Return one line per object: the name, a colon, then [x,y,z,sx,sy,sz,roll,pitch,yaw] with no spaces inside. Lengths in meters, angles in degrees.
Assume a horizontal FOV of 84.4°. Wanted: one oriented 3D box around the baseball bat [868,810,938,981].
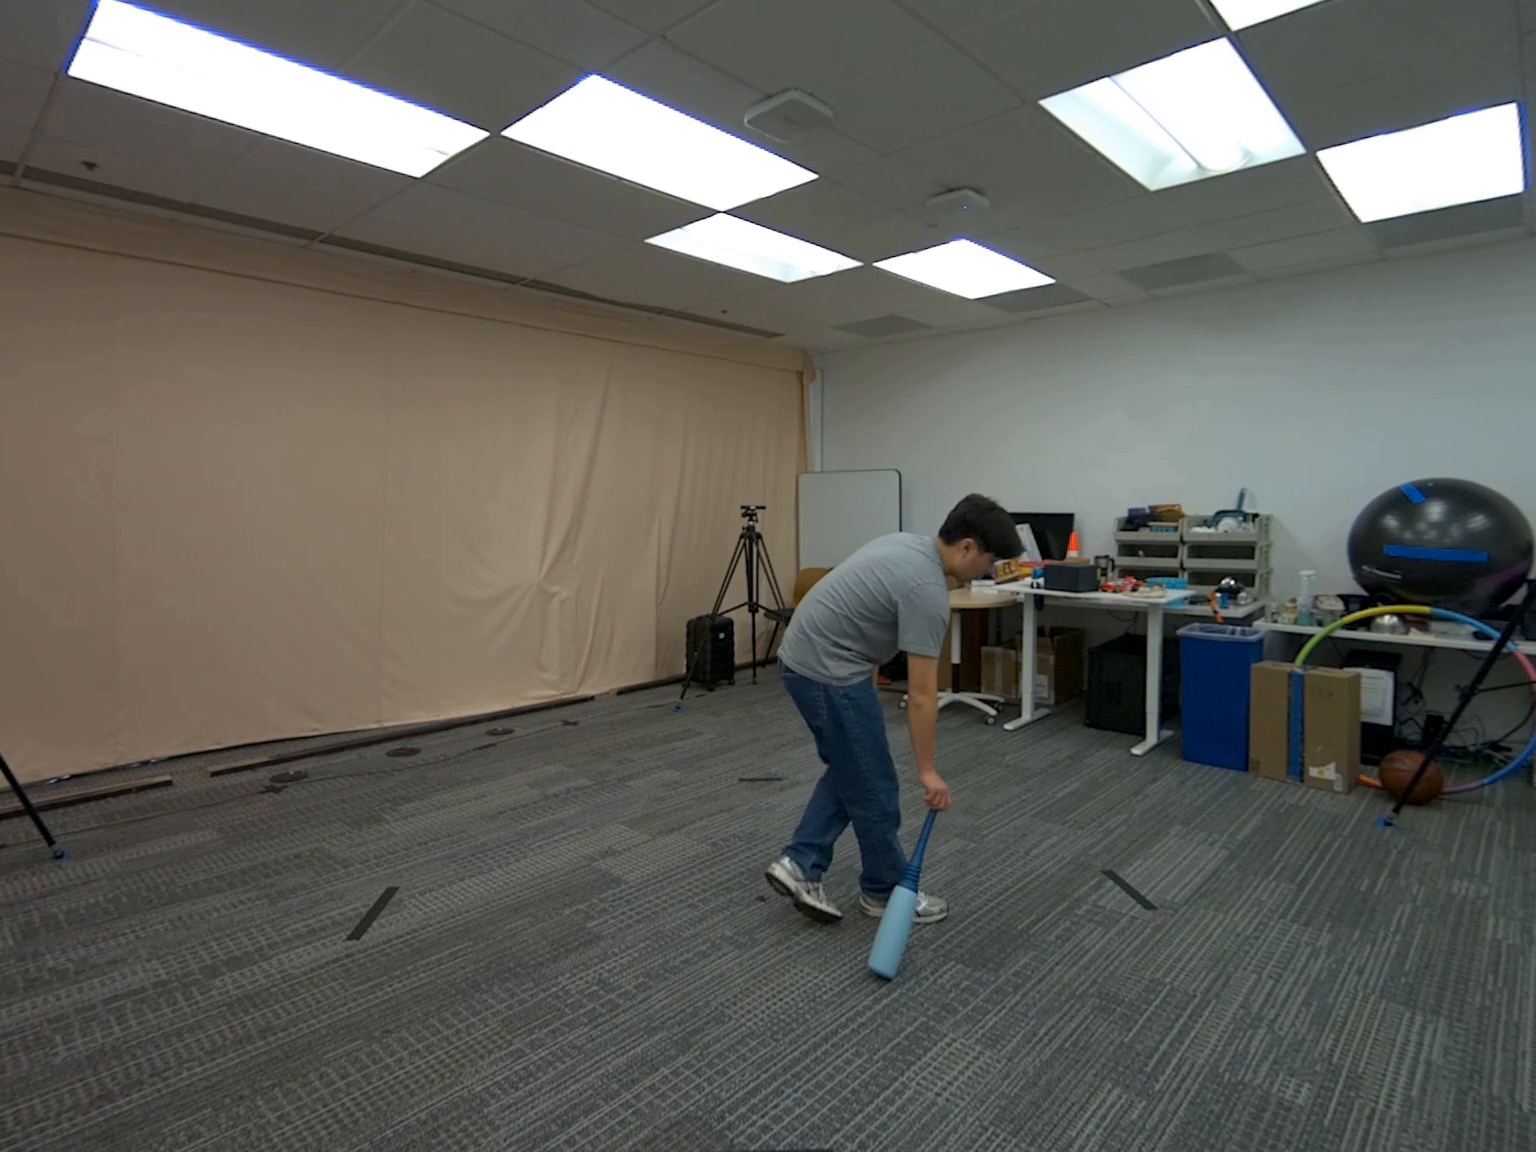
baseball bat: [0.442,0.937,2.567,0.090,0.544,0.088,21,-21,7]
